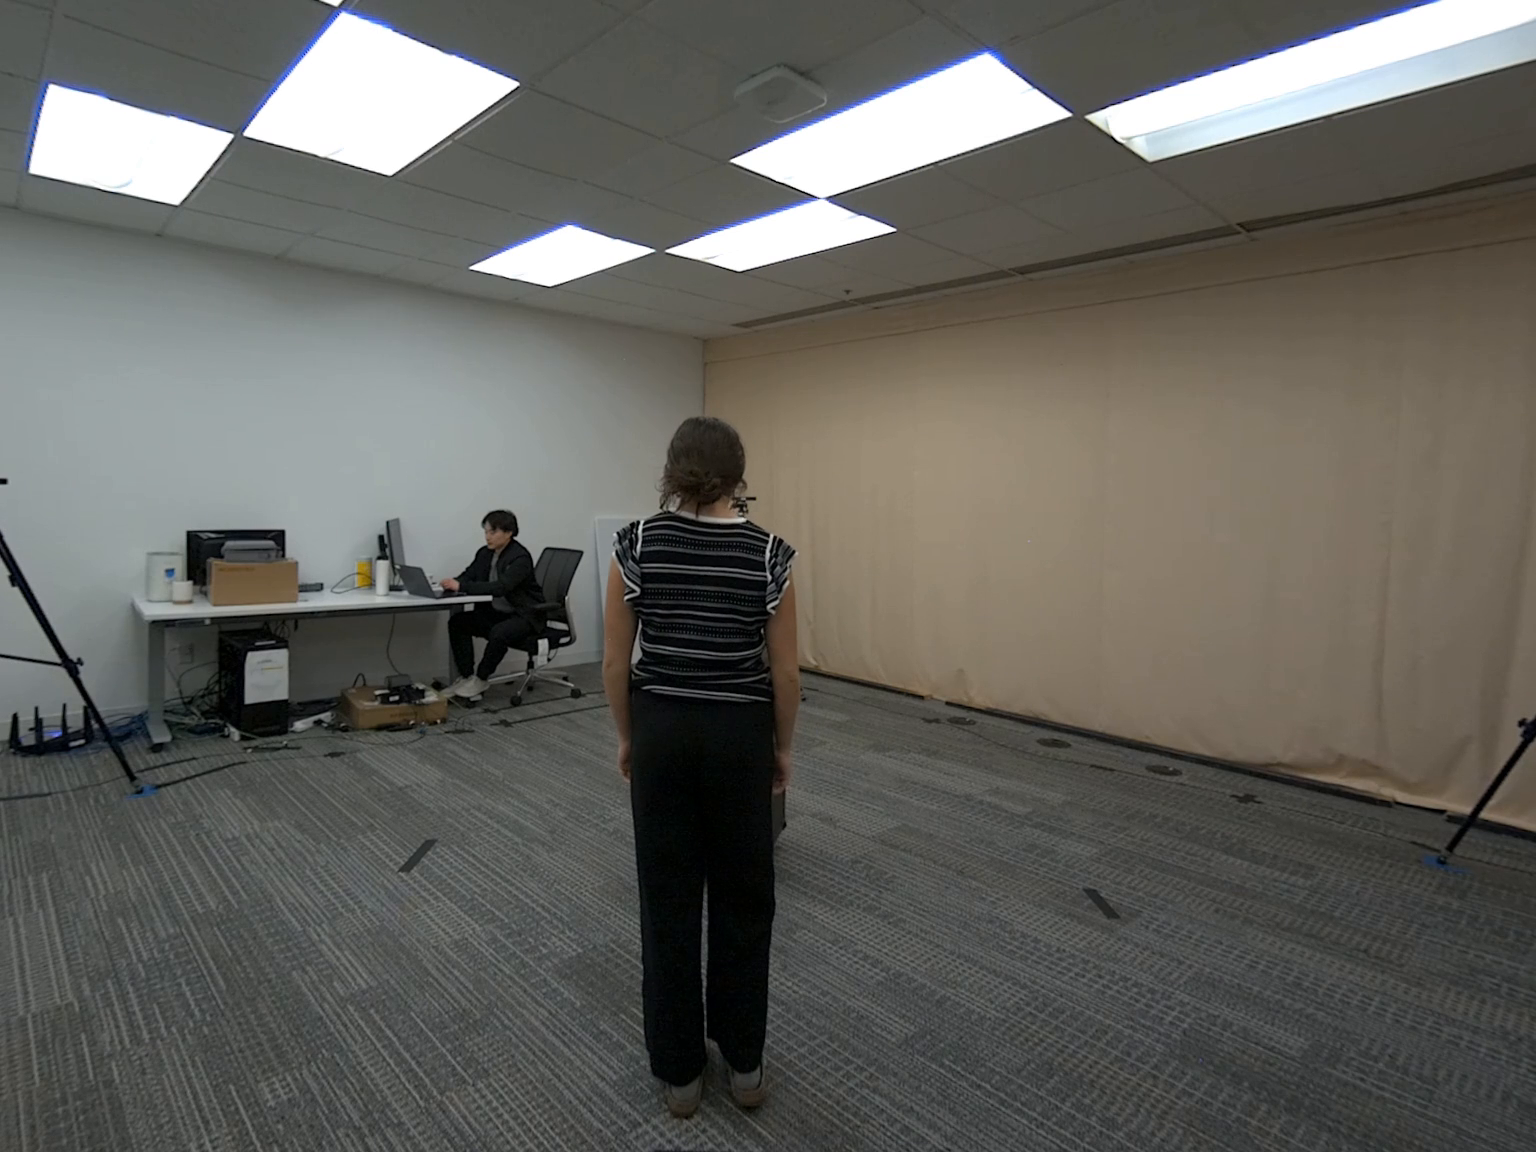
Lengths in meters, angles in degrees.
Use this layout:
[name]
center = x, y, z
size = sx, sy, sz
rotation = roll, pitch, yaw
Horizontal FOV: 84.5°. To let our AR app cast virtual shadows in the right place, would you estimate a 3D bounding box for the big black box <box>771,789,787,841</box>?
[big black box]
center = -0.163, 0.677, 3.201
size = 0.401, 0.859, 0.515
rotation = 1, 3, 16
